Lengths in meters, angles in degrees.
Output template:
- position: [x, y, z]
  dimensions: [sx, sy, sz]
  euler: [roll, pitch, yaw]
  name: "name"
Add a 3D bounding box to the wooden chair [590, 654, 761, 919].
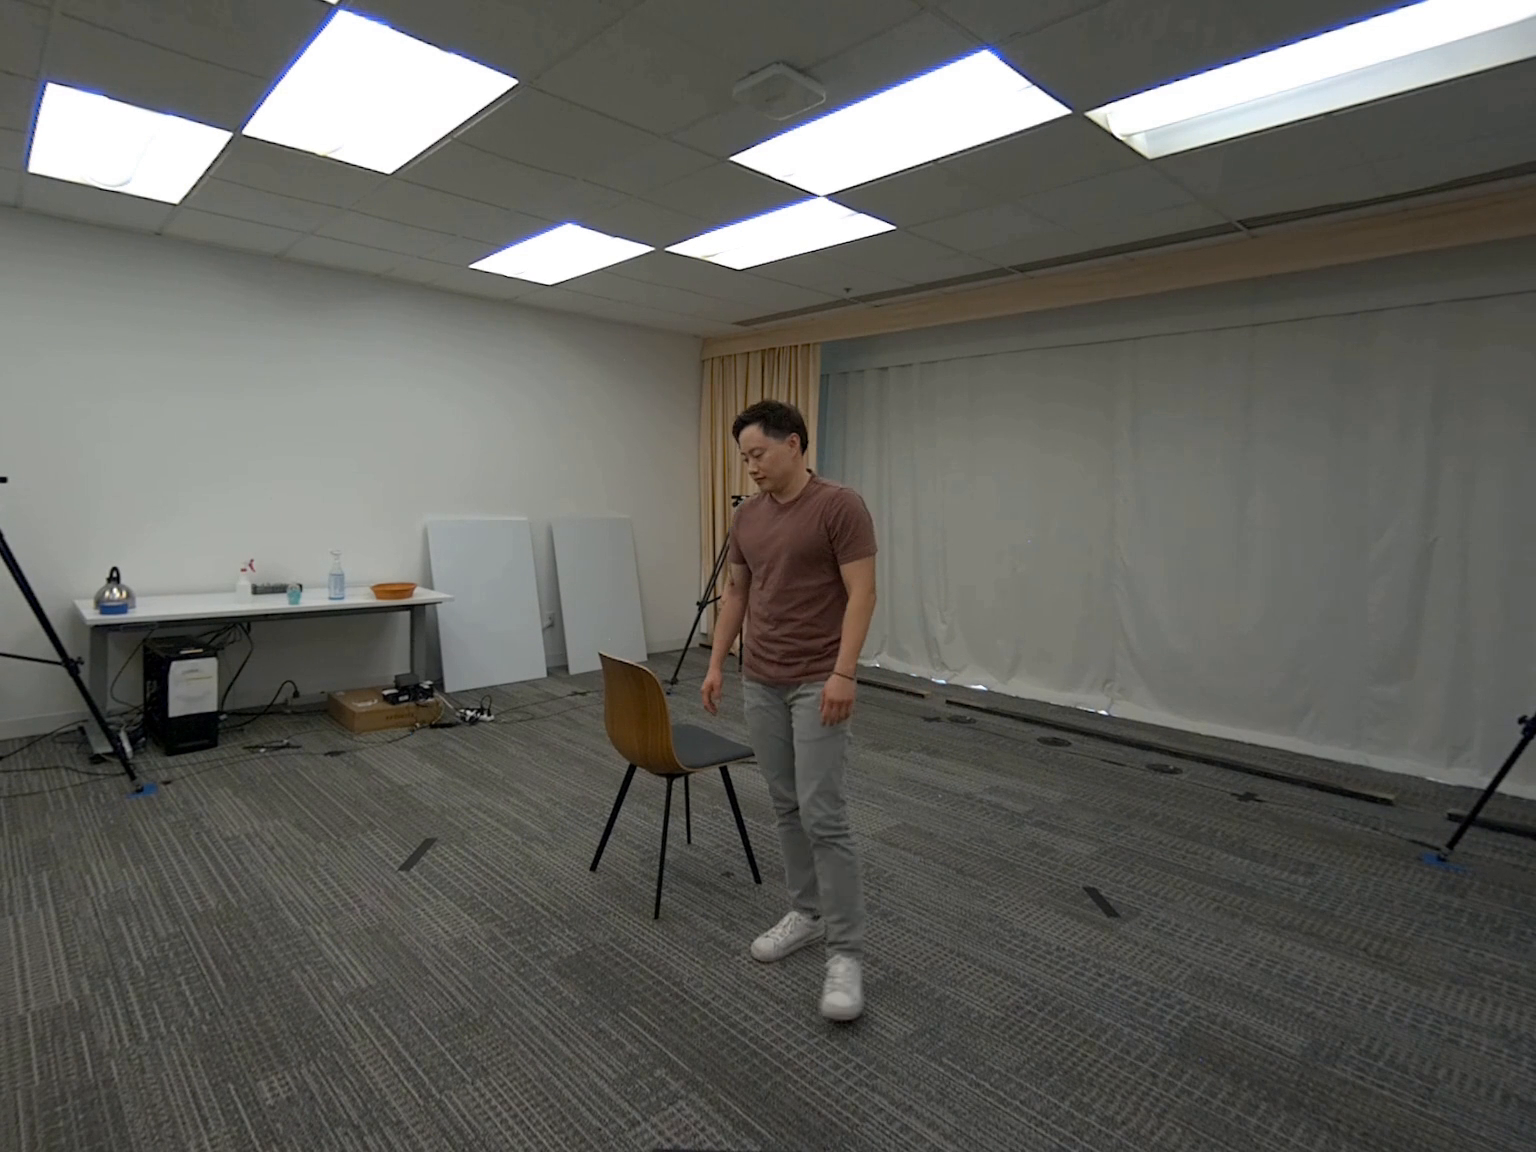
- position: [-0.327, 0.675, 3.047]
  dimensions: [0.512, 0.873, 0.490]
  euler: [-7, 8, -39]
  name: "wooden chair"
